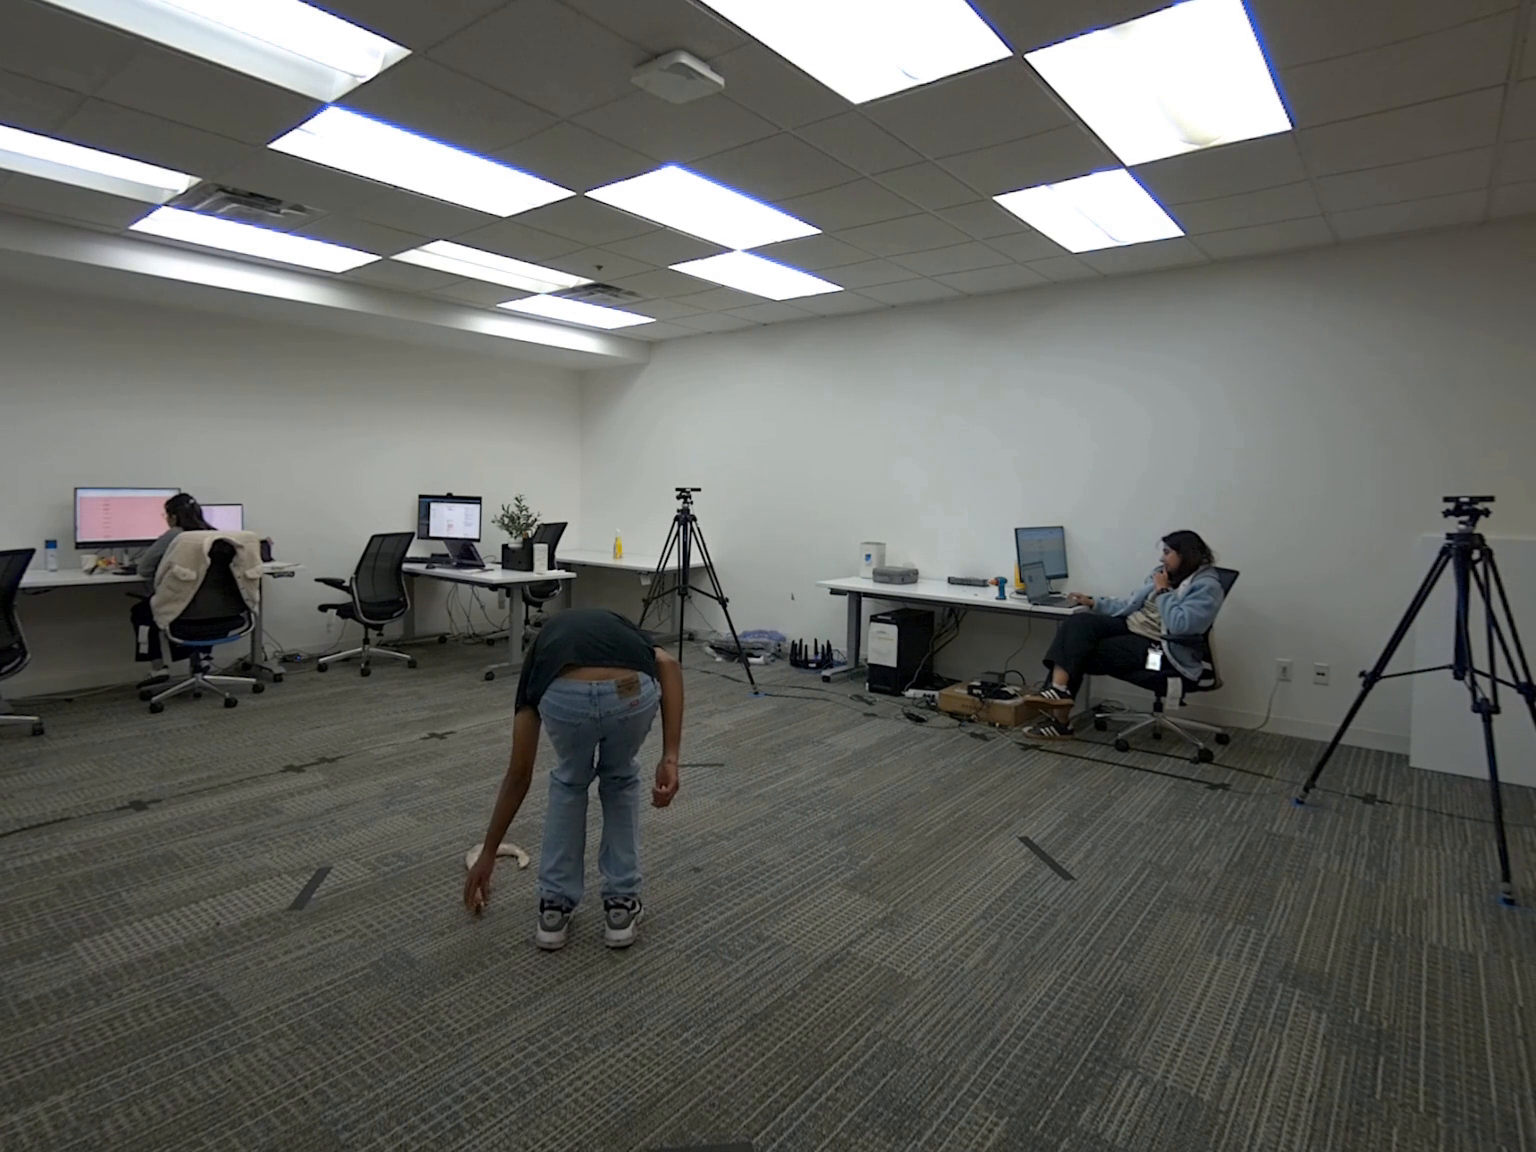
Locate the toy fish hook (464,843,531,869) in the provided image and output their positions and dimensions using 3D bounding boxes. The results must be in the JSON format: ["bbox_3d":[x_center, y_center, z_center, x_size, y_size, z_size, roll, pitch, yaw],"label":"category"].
[{"bbox_3d":[-0.963,1.044,2.990,0.221,0.048,0.516,-2,6,-14],"label":"toy fish hook"}]
